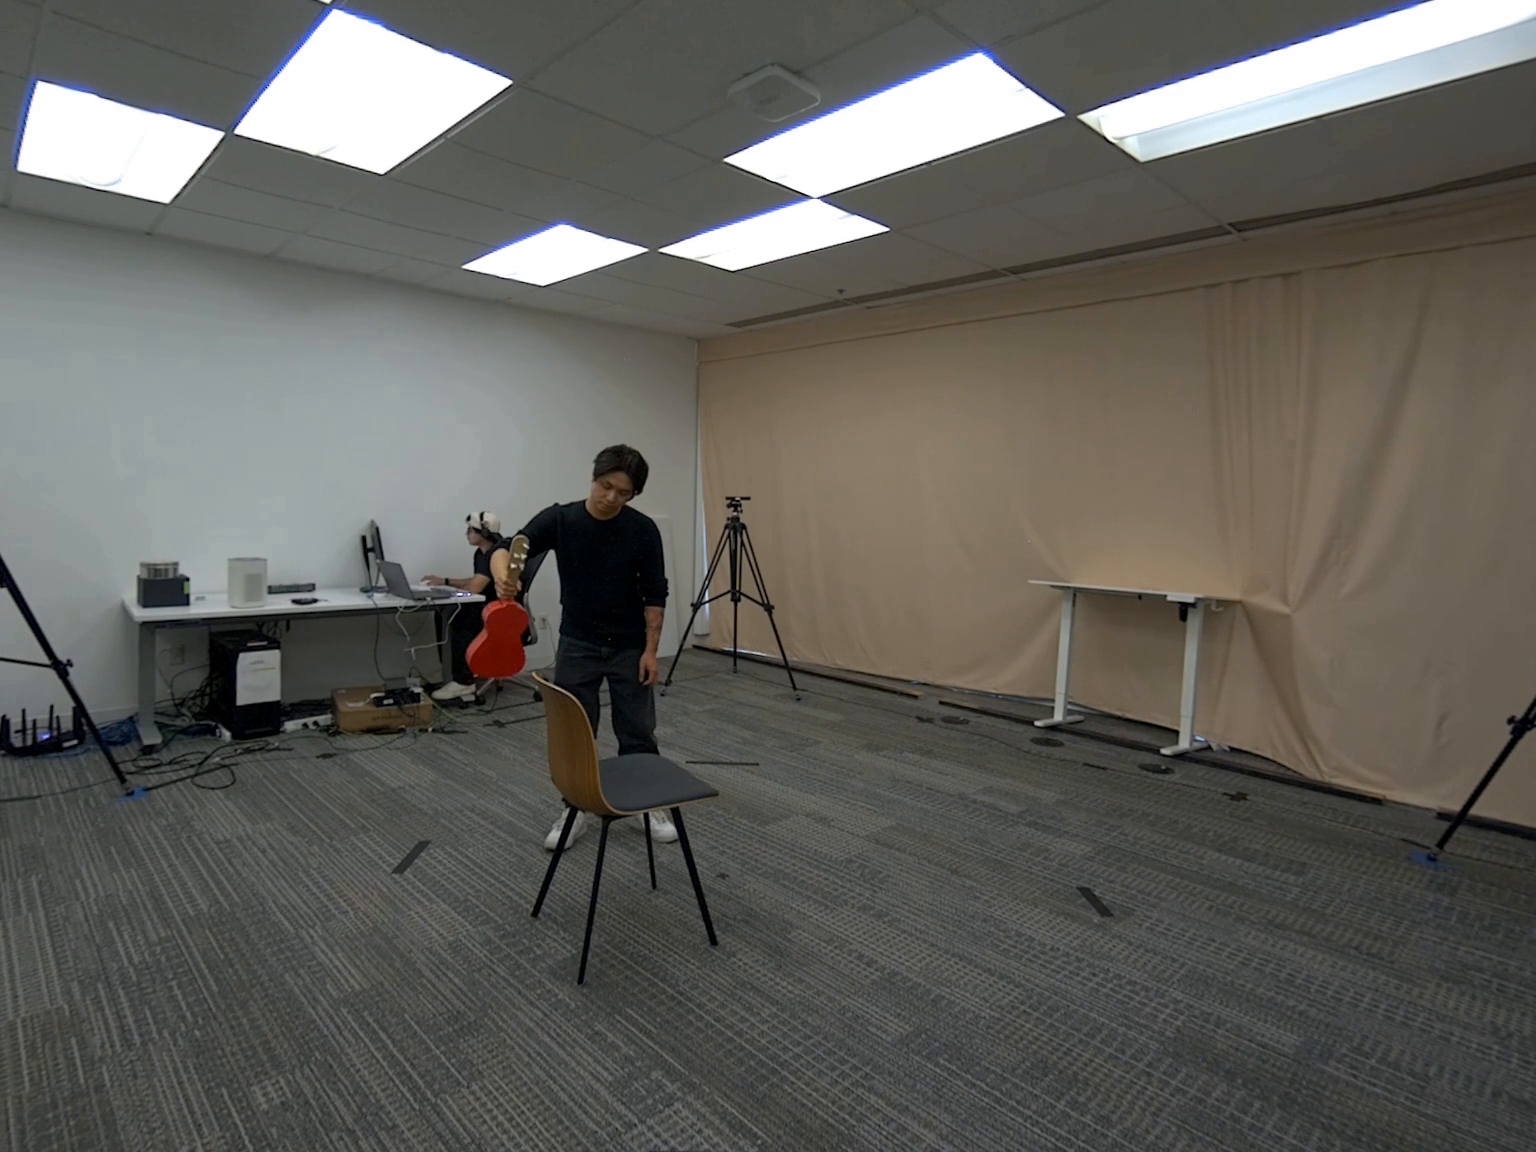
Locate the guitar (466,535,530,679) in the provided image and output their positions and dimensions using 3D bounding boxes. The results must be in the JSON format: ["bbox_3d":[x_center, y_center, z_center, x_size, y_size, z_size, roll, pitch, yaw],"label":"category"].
[{"bbox_3d":[-0.925,0.111,2.858,0.189,0.493,0.073,-2,20,-31],"label":"guitar"}]
